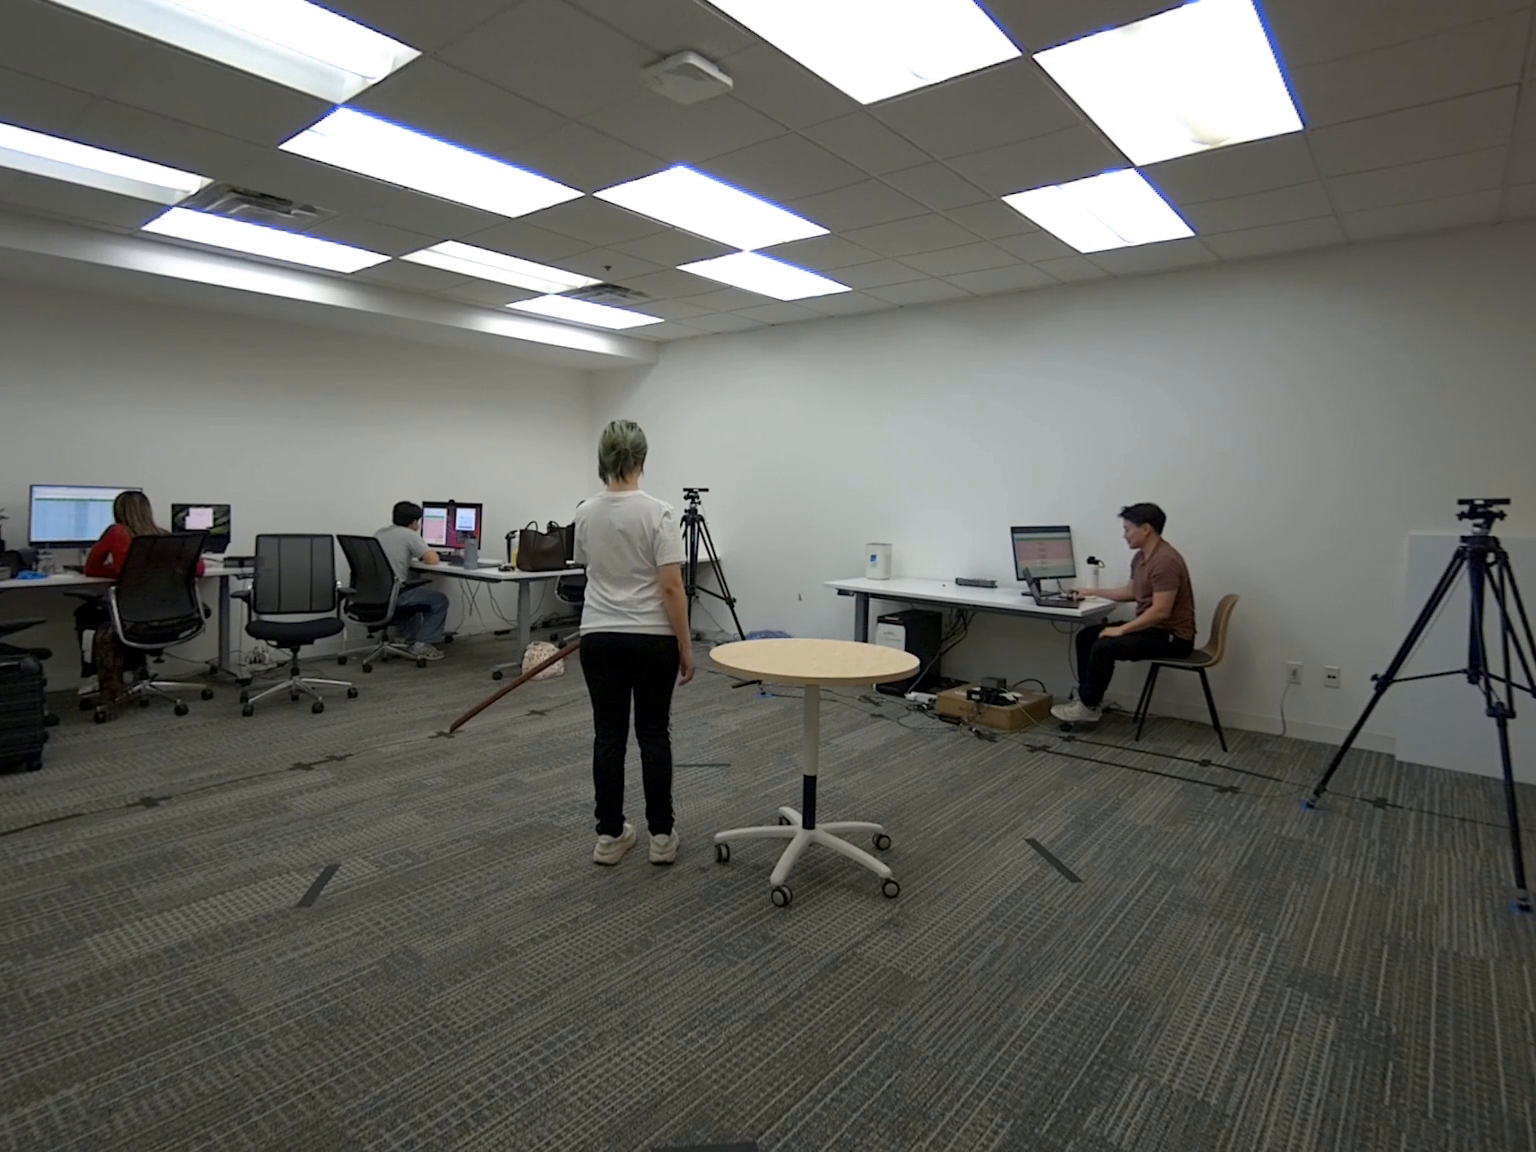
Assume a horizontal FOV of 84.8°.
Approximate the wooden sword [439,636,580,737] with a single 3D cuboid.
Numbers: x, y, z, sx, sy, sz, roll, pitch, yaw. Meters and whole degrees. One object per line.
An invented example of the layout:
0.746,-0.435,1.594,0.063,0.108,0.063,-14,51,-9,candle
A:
-0.907,0.354,3.500,1.022,0.023,0.053,-35,45,-7,wooden sword
